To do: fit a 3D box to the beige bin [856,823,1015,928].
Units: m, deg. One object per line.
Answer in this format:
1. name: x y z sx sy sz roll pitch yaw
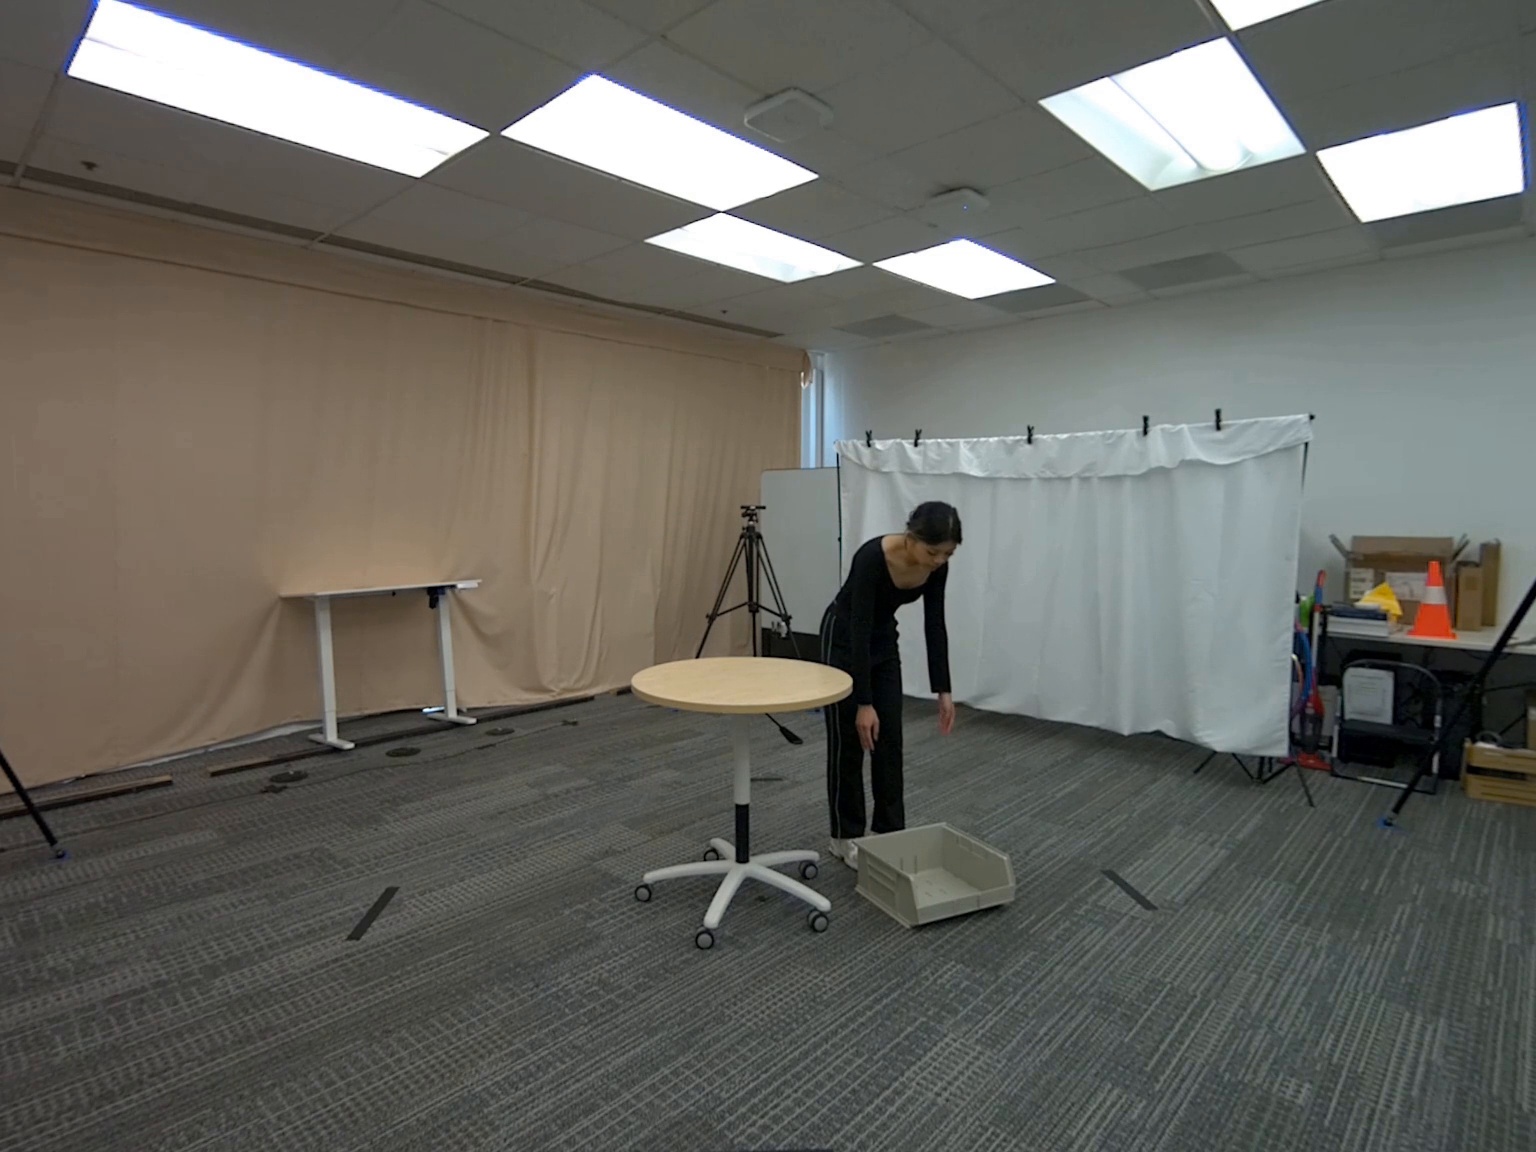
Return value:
1. beige bin: 0.581 1.052 2.972 0.412 0.188 0.387 -3 5 -27
